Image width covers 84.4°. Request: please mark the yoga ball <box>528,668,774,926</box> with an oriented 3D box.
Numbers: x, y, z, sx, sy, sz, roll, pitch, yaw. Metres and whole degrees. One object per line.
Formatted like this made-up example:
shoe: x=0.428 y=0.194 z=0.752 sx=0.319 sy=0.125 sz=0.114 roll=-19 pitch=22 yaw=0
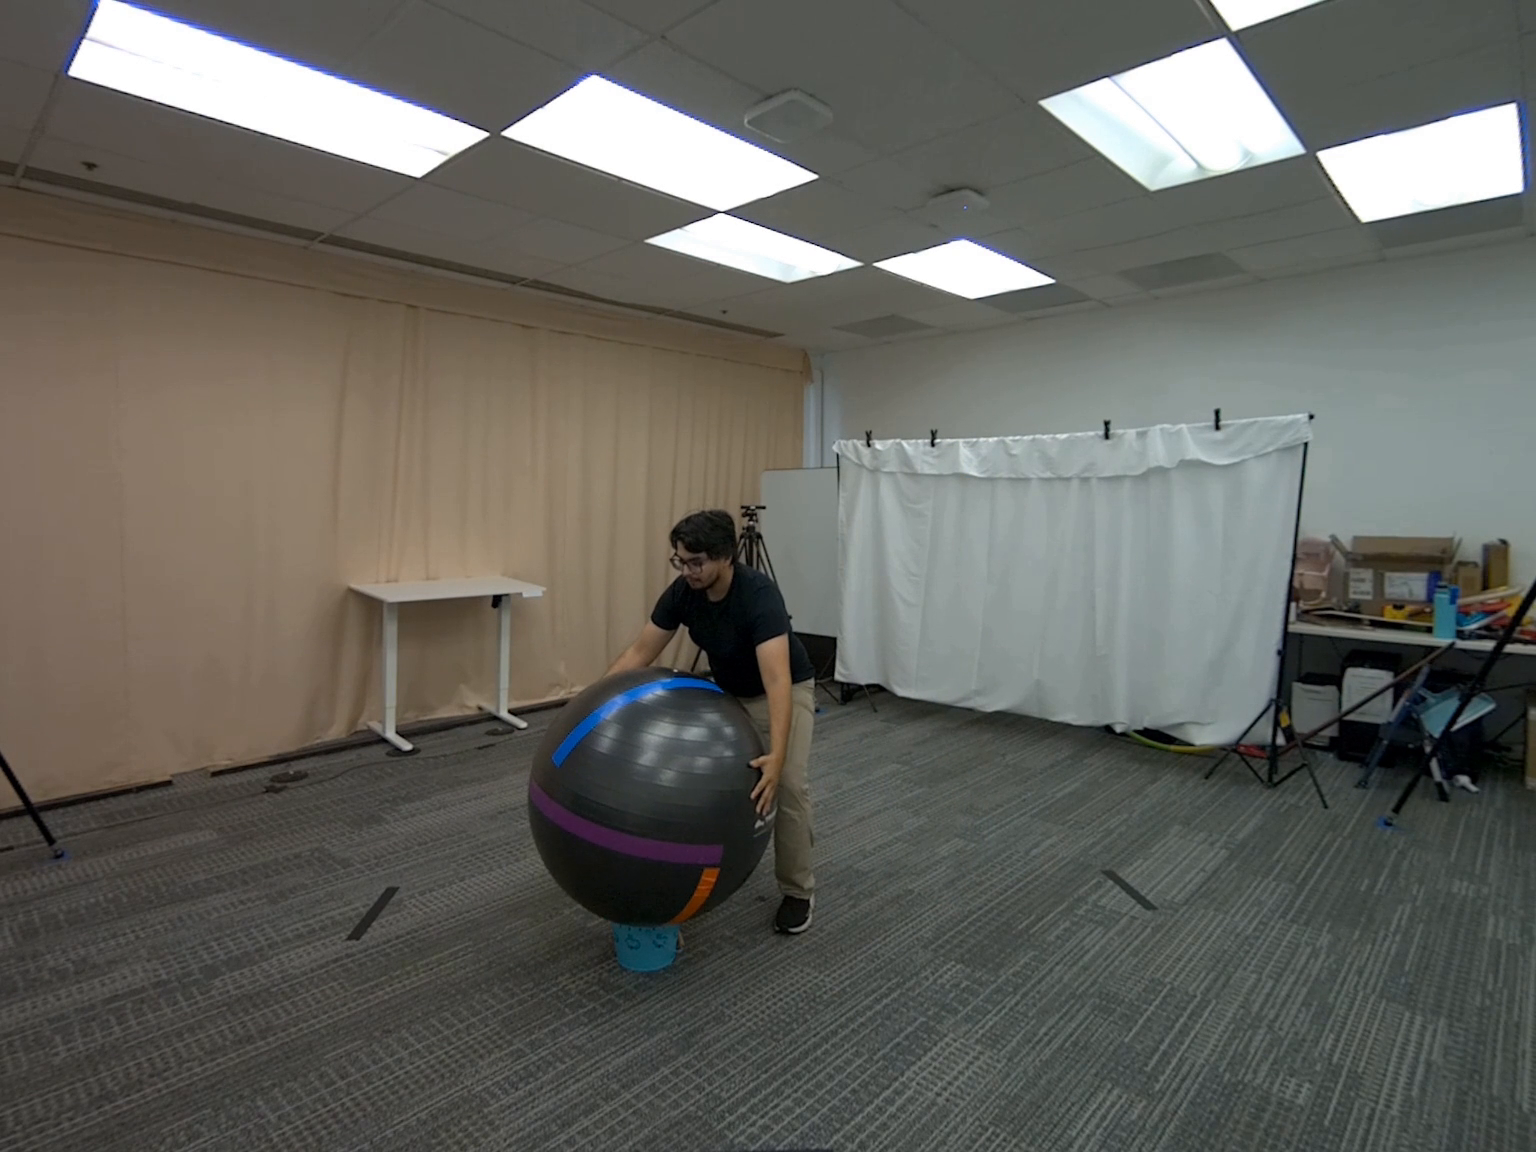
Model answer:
yoga ball: x=-0.362 y=0.668 z=2.564 sx=0.757 sy=0.756 sz=0.760 roll=0 pitch=4 yaw=-2
